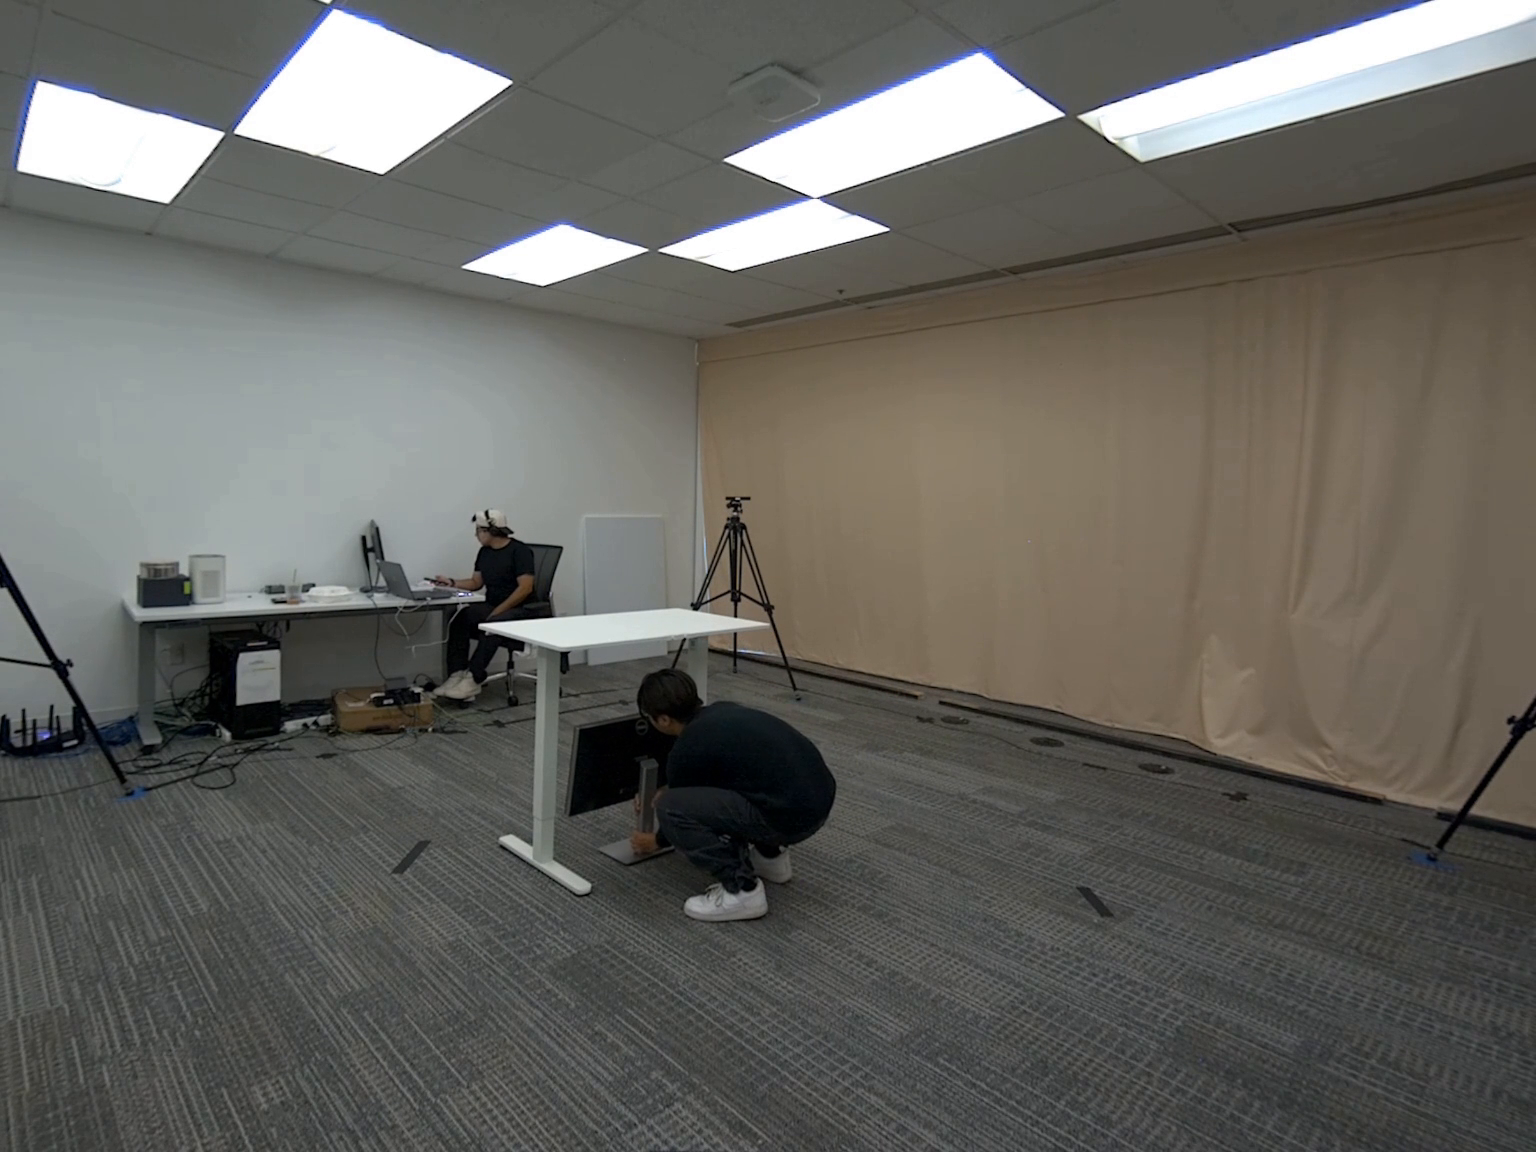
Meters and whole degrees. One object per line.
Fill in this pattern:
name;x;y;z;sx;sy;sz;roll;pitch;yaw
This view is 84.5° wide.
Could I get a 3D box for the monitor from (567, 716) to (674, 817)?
monitor;-0.516;0.800;3.300;0.518;0.516;0.178;-3;0;-41
